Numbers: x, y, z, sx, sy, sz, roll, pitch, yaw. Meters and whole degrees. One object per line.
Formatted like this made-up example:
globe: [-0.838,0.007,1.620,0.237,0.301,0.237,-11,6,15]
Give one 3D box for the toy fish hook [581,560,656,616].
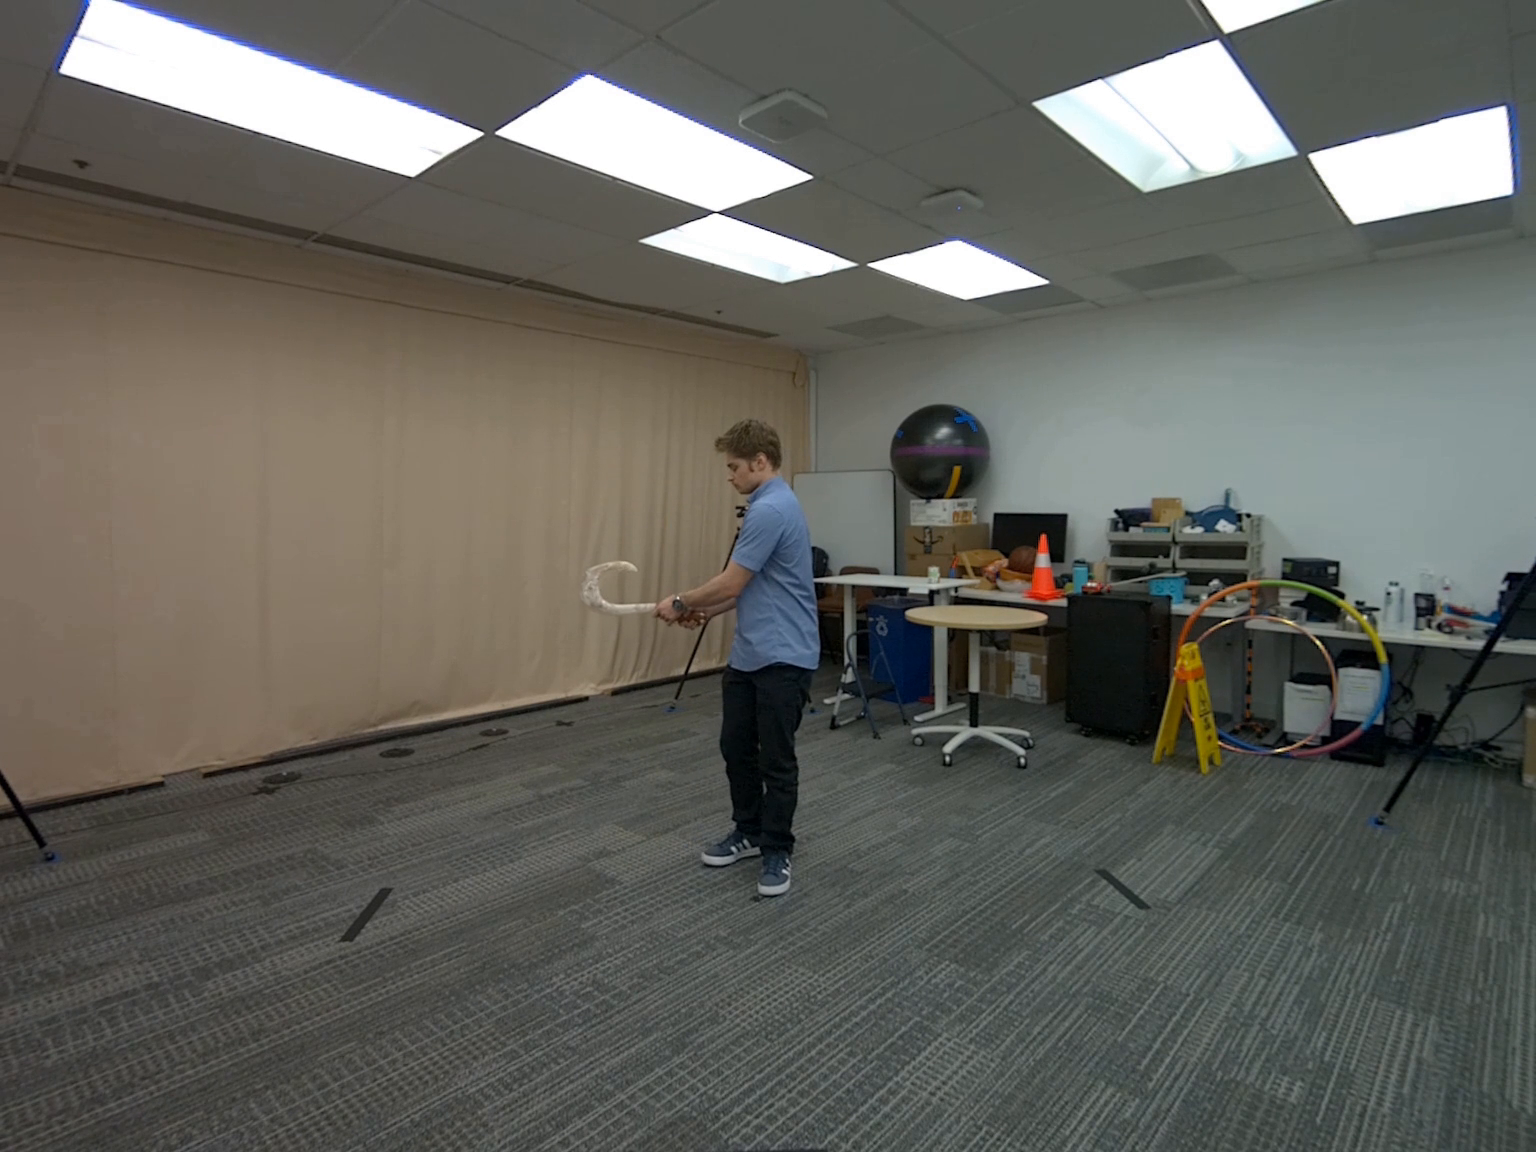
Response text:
toy fish hook: [-0.472,0.080,3.217,0.513,0.226,0.047,12,-17,10]
